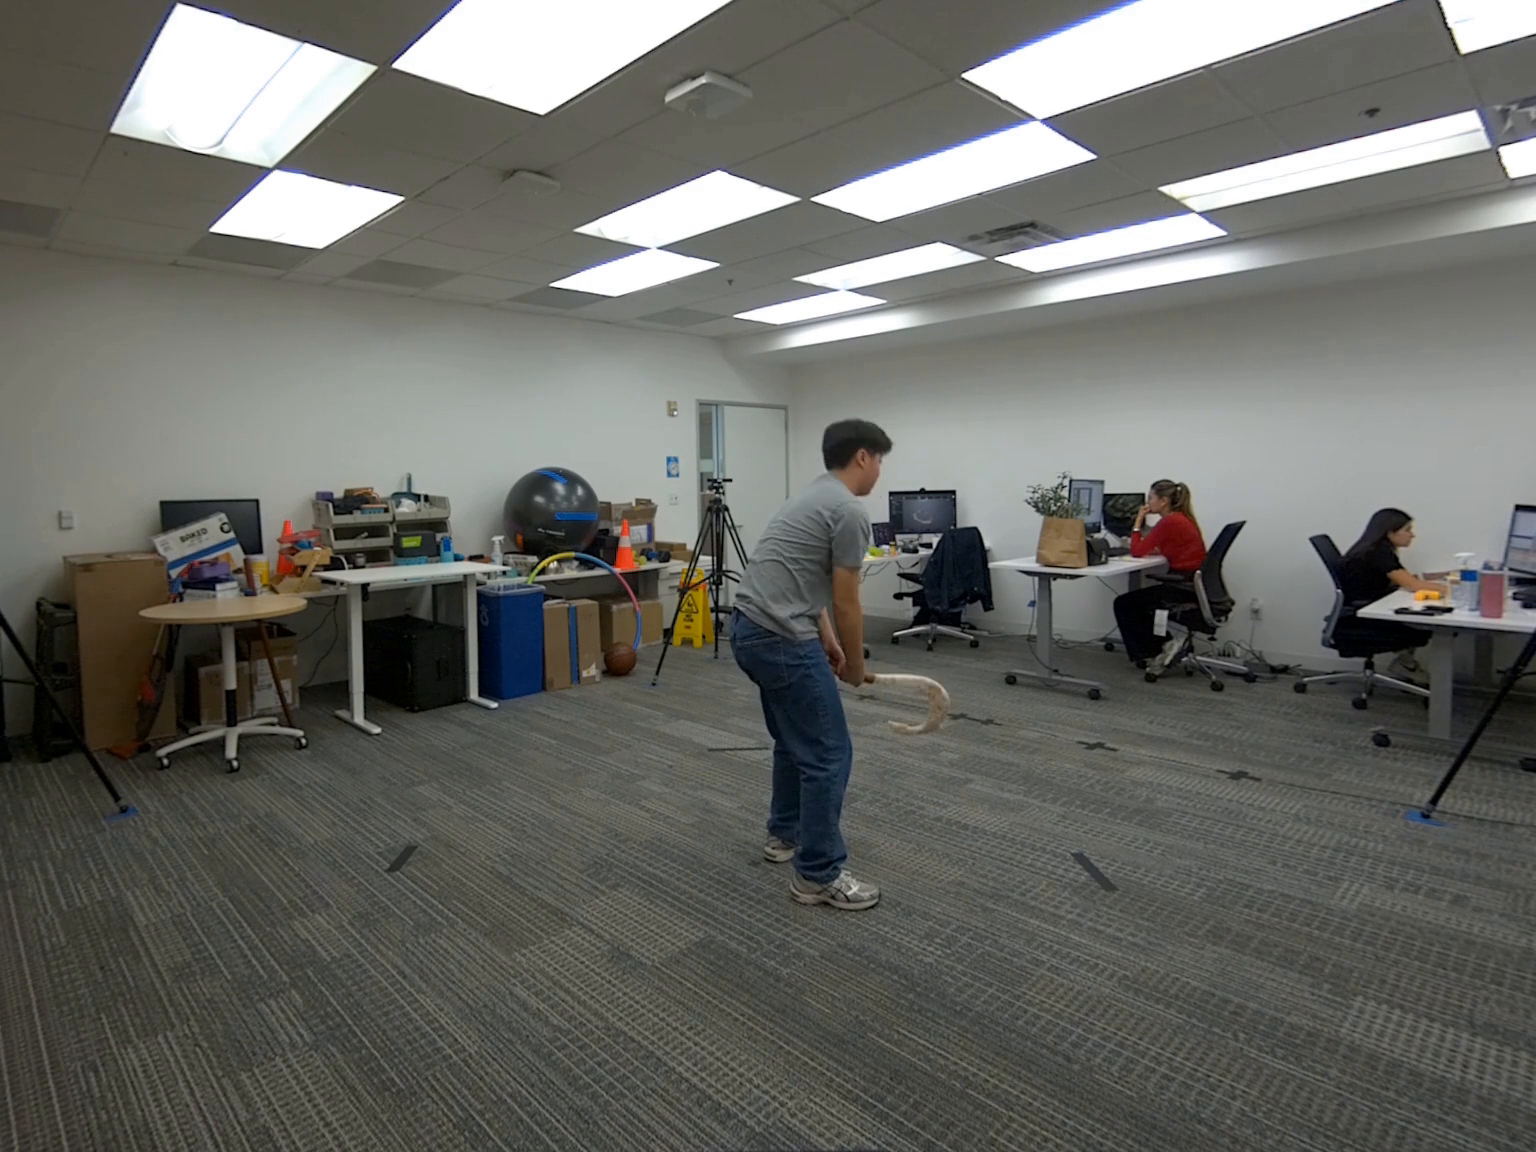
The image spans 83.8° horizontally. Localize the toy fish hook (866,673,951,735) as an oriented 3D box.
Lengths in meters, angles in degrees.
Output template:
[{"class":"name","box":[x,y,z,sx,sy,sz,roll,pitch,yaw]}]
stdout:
[{"class":"toy fish hook","box":[0.417,0.442,3.089,0.504,0.224,0.048,18,0,-3]}]
